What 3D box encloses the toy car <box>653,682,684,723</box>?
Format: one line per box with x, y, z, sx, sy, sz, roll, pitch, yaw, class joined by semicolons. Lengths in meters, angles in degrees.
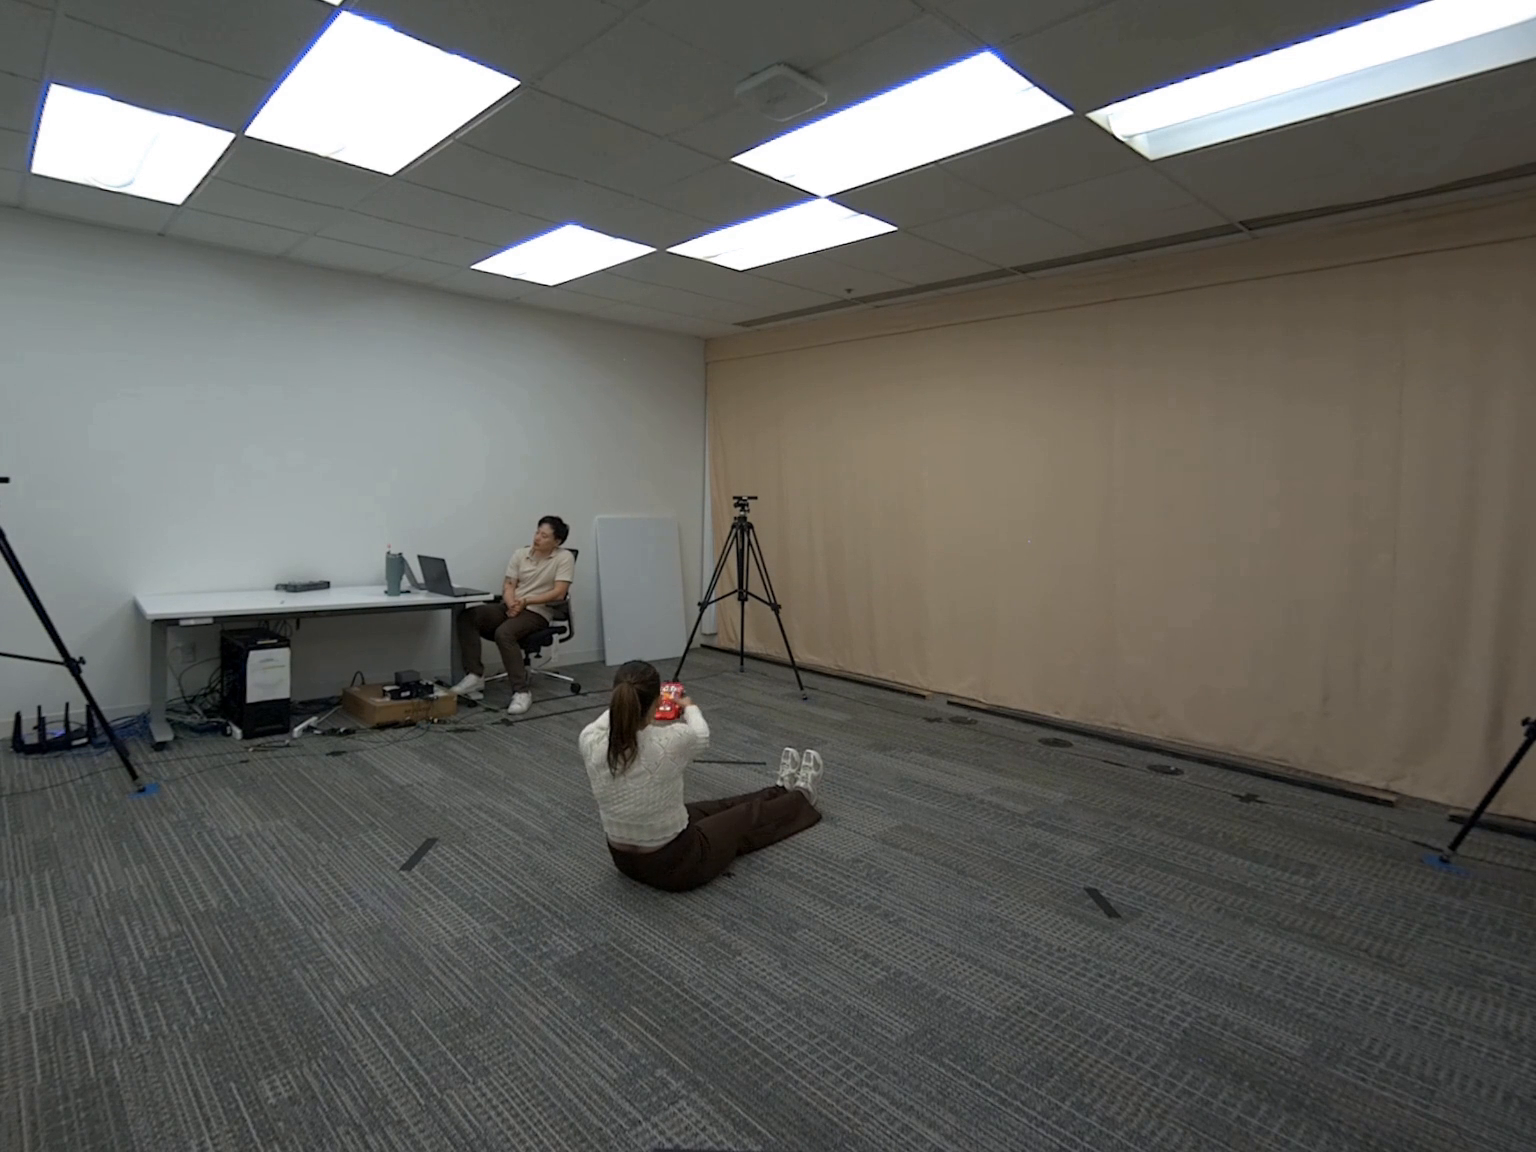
-0.422;0.539;3.548;0.130;0.082;0.257;-2;14;-3;toy car
